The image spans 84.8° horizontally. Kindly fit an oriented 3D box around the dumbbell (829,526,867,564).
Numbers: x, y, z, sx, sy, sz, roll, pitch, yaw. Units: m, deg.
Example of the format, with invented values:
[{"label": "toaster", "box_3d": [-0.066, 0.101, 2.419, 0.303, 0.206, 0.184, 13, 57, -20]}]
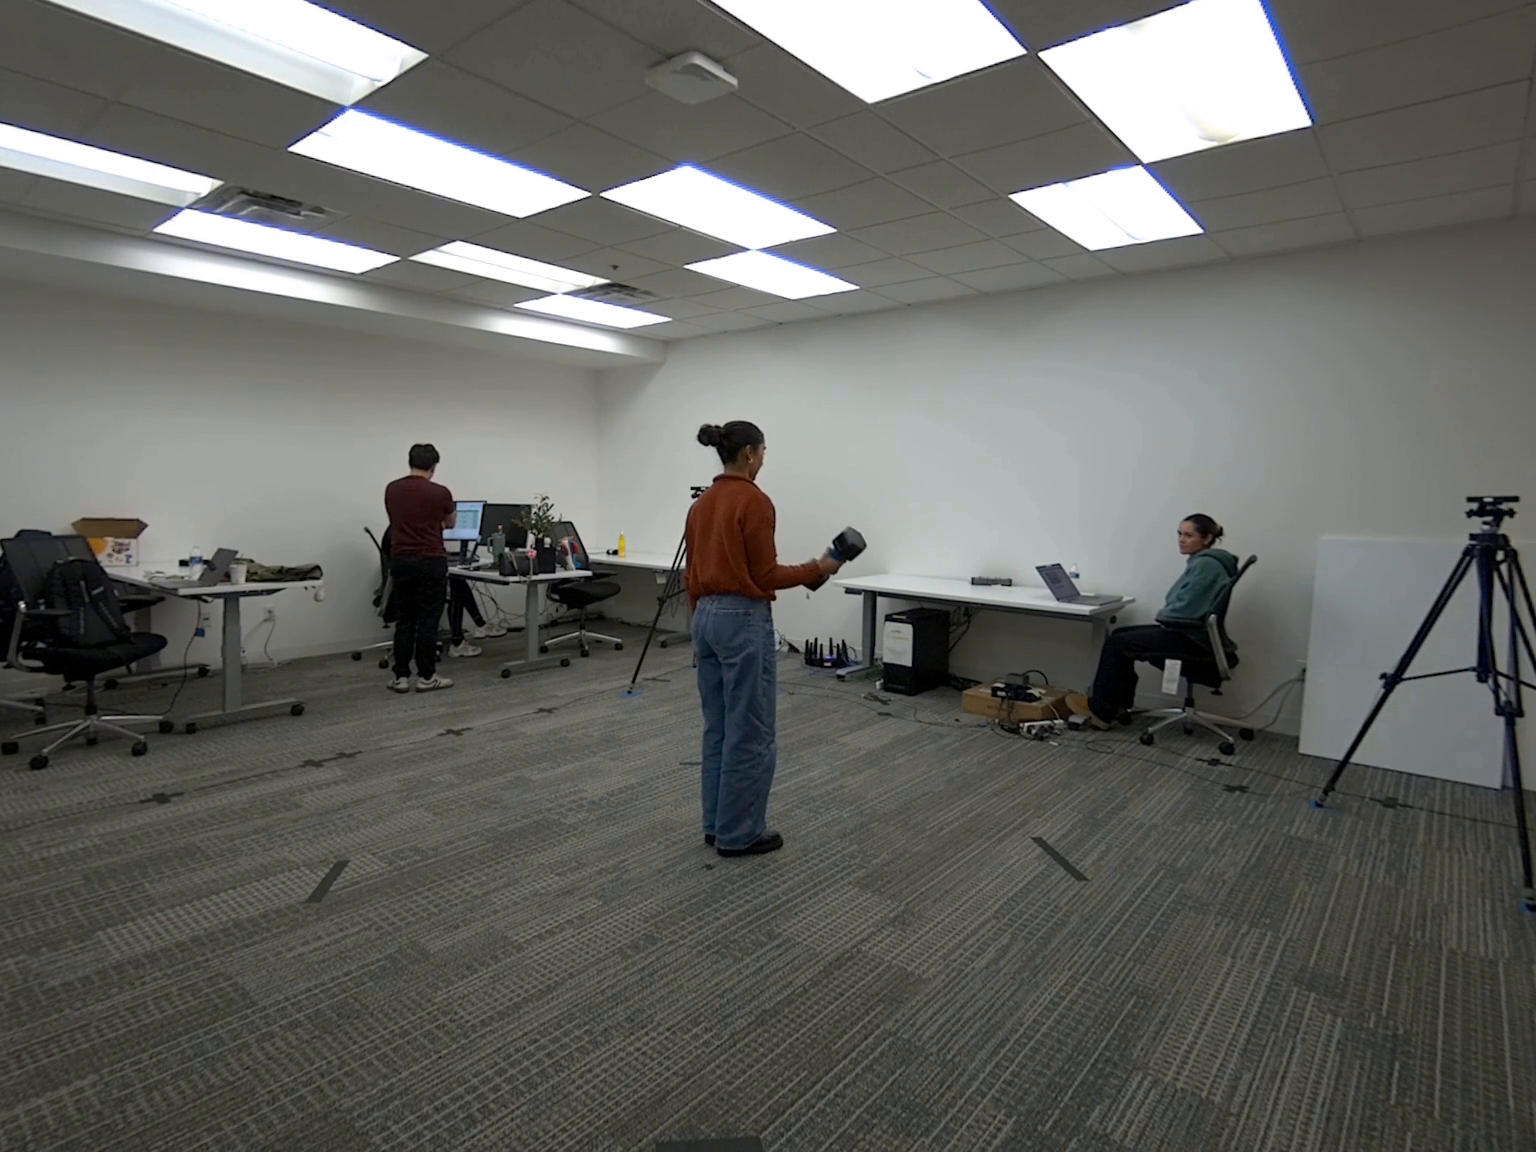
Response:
[{"label": "dumbbell", "box_3d": [0.227, -0.062, 3.263, 0.120, 0.111, 0.294, 32, -52, -21]}]
